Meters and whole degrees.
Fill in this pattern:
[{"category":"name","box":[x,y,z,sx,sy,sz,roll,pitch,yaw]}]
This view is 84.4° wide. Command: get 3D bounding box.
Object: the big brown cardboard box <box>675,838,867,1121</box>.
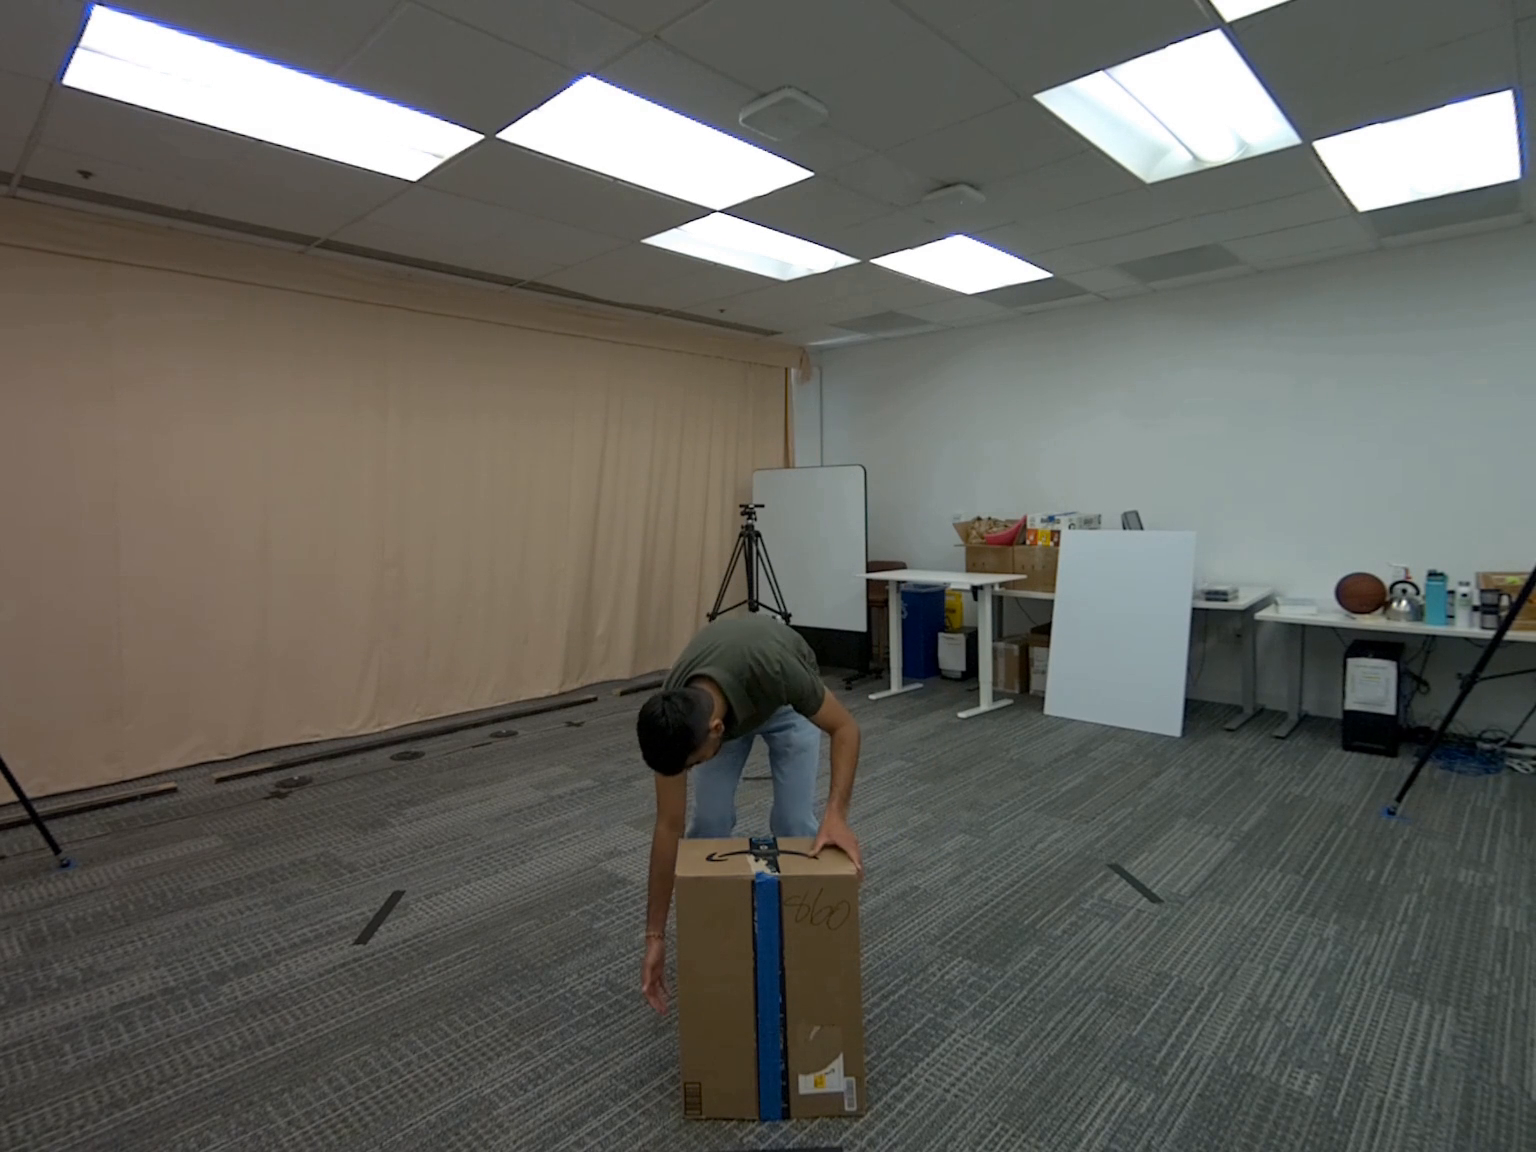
[{"category":"big brown cardboard box","box":[0.005,0.943,2.000,0.417,0.588,0.233,-2,2,-1]}]
